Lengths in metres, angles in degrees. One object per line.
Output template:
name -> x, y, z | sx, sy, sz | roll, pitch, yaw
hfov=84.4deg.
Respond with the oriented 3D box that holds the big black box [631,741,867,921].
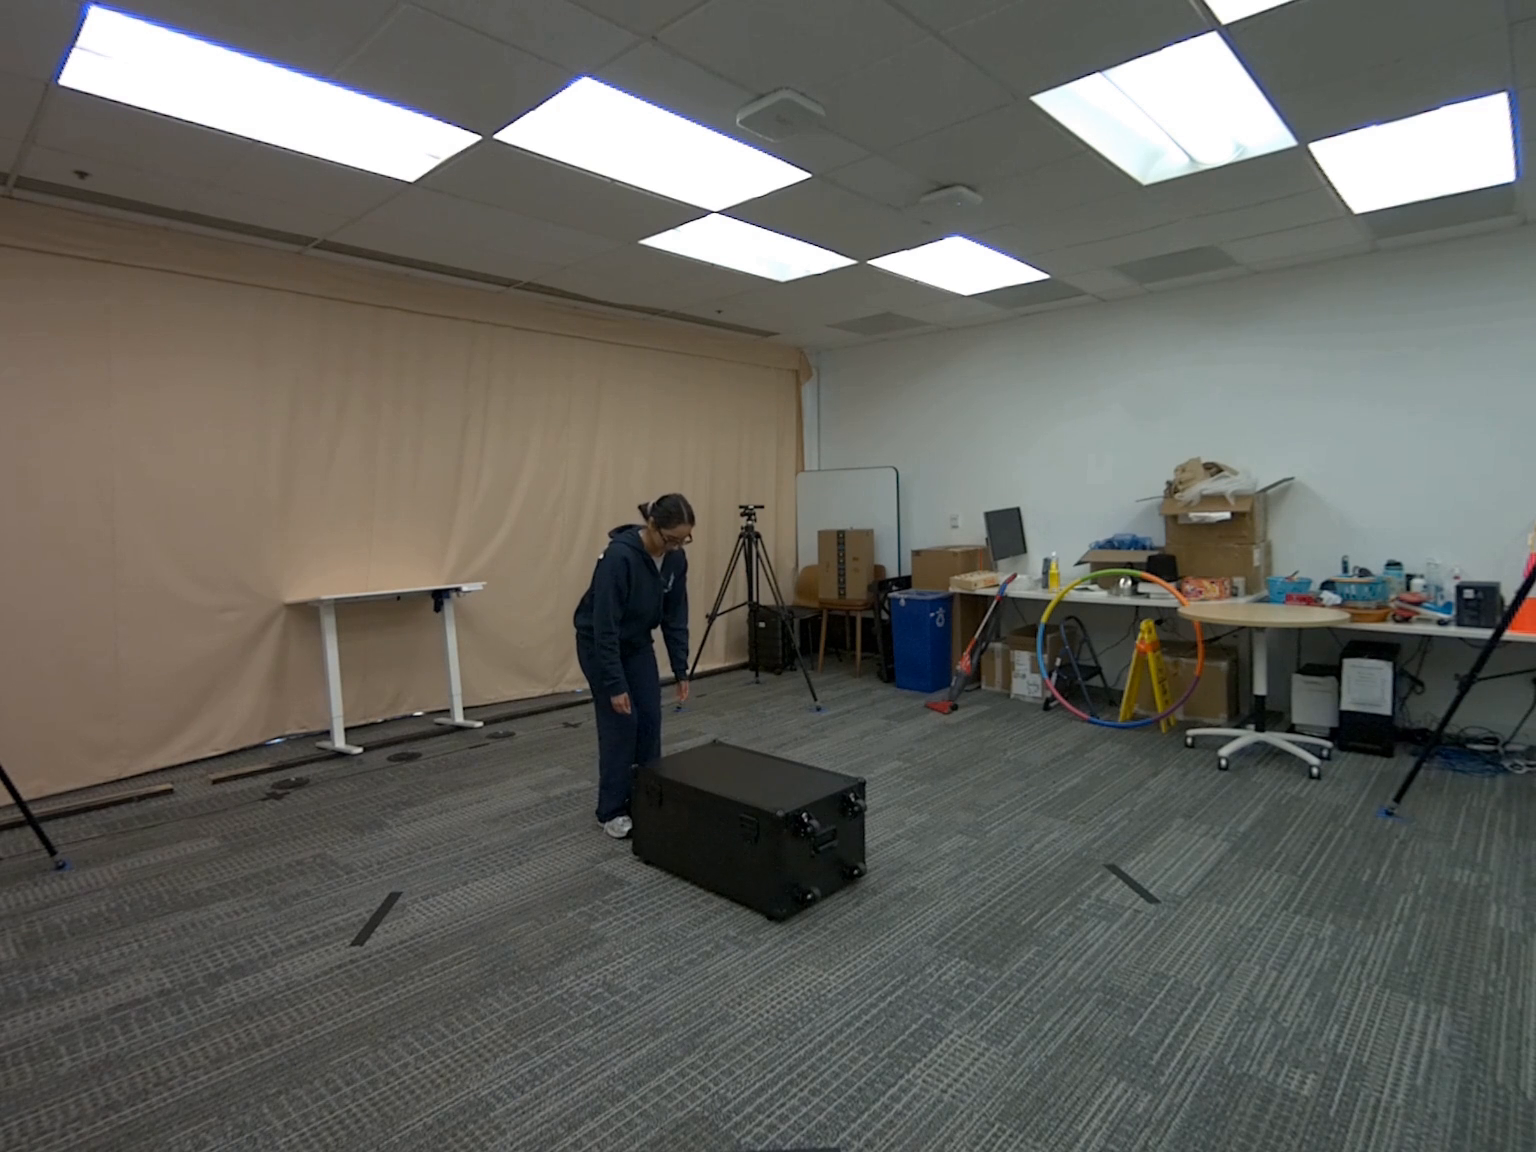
big black box -> -0.064, 0.935, 3.185 | 0.890, 0.395, 0.505 | 2, 5, 43
